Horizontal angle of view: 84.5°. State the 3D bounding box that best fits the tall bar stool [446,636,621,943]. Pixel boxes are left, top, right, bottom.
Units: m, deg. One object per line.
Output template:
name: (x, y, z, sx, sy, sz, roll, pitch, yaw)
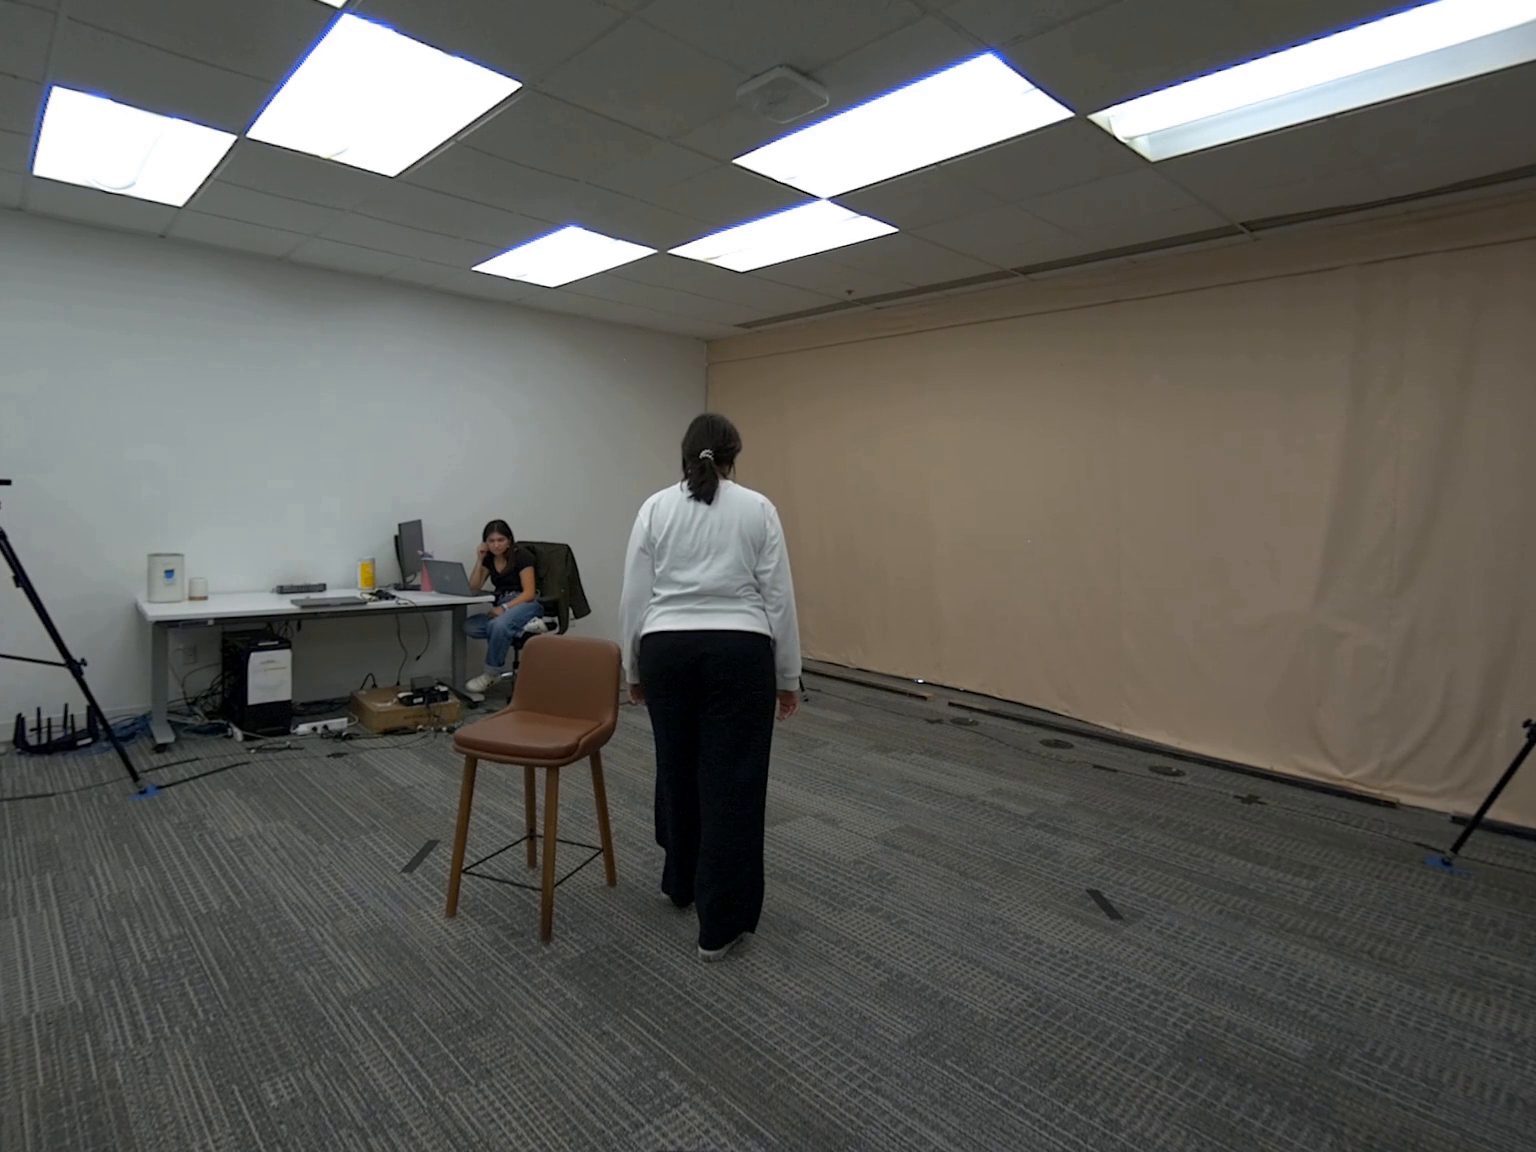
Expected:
tall bar stool: (-0.787, 0.681, 2.870, 0.465, 0.888, 0.459, 3, 2, 23)
